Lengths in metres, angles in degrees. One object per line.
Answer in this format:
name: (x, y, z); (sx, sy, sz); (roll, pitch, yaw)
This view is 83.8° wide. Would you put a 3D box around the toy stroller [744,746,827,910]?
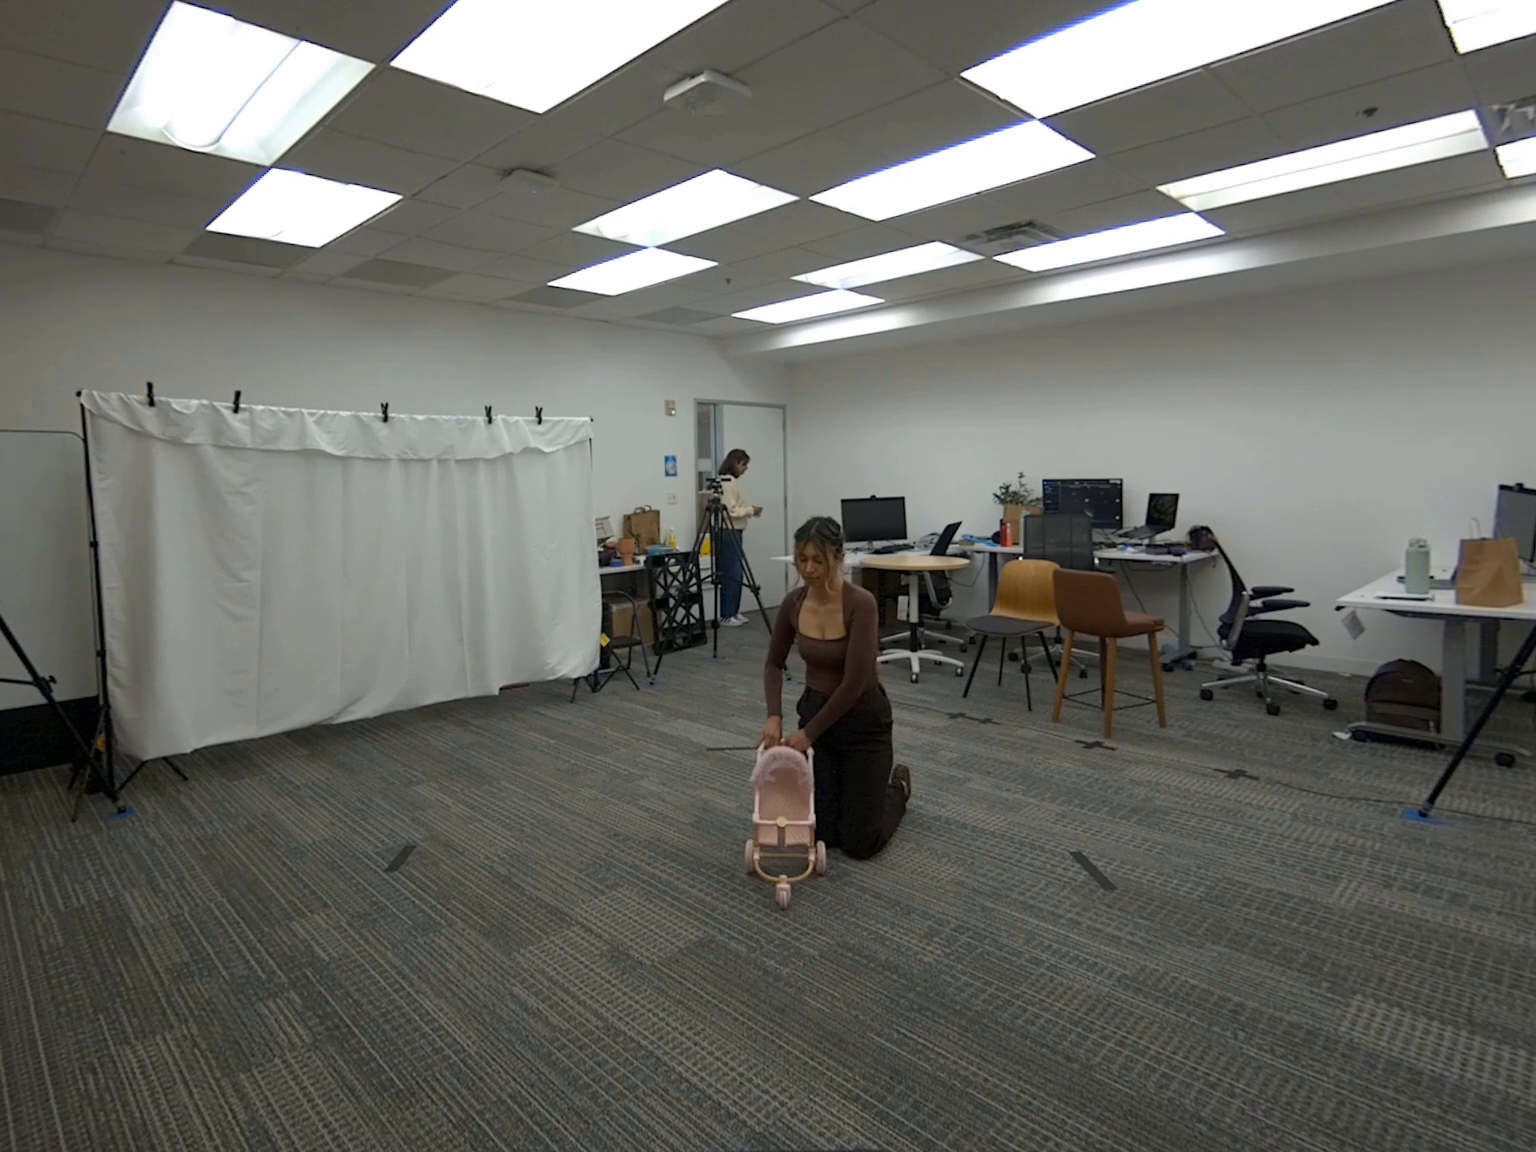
toy stroller: (0.057, 0.835, 2.945); (0.284, 0.541, 0.334); (-1, -12, 9)
